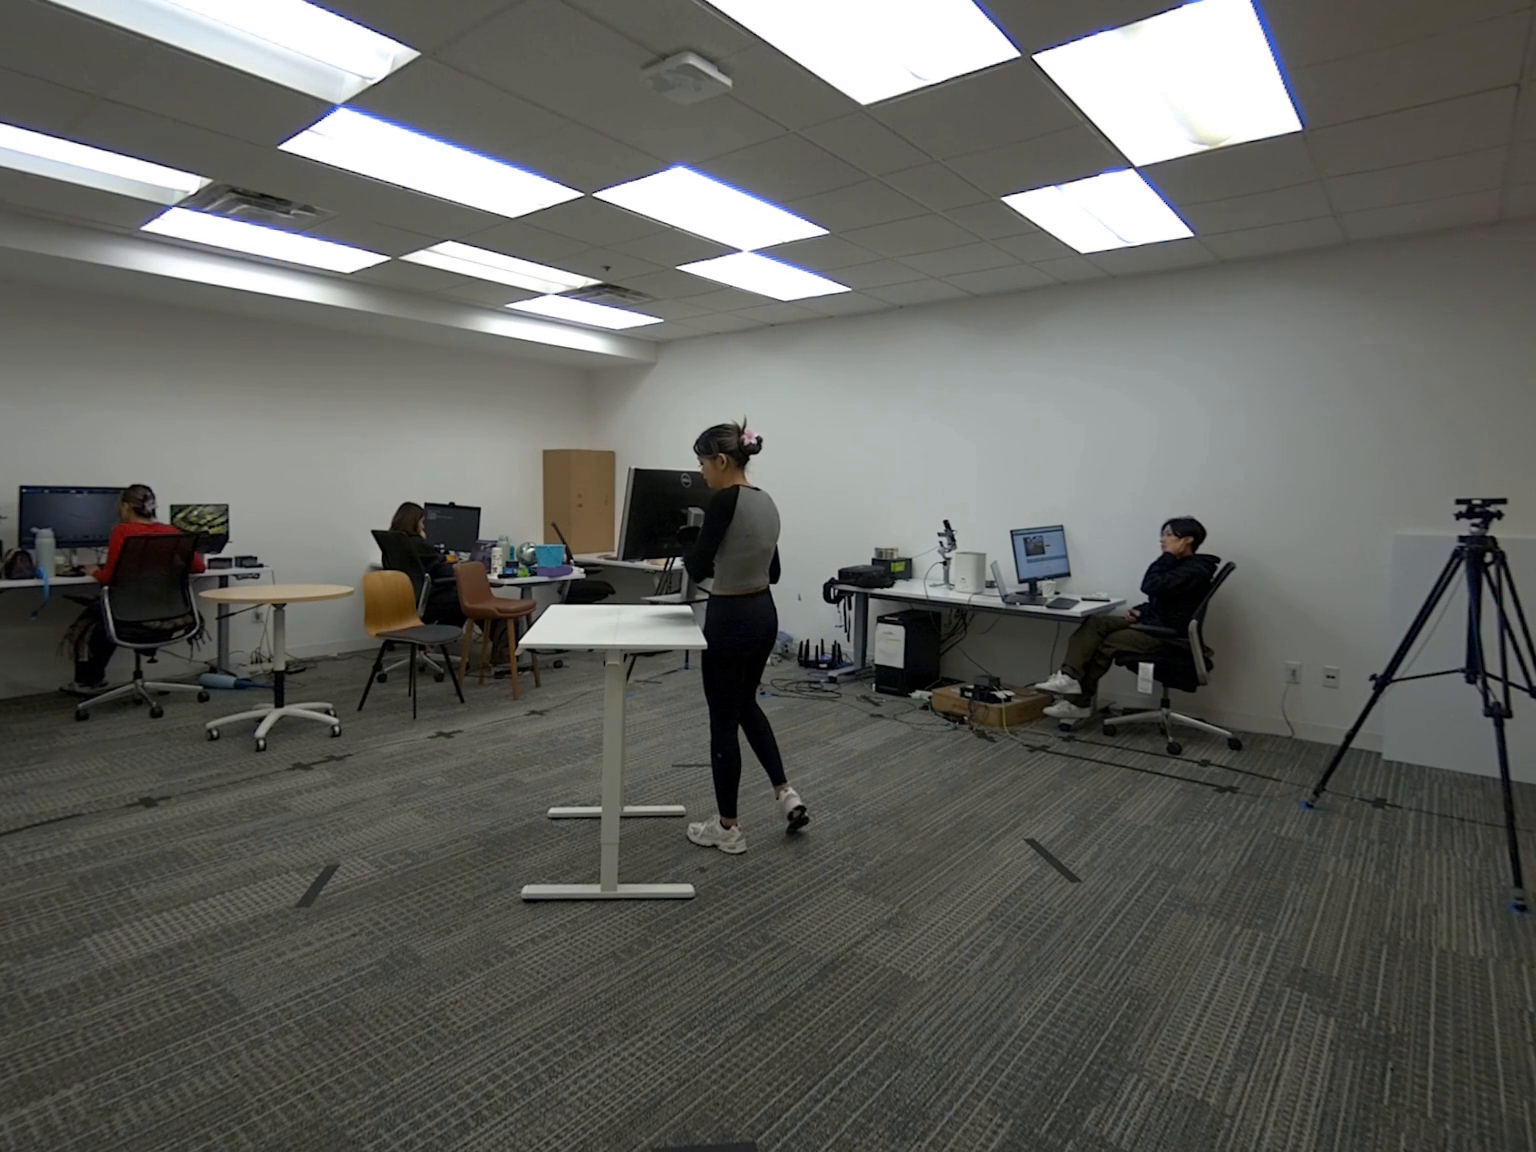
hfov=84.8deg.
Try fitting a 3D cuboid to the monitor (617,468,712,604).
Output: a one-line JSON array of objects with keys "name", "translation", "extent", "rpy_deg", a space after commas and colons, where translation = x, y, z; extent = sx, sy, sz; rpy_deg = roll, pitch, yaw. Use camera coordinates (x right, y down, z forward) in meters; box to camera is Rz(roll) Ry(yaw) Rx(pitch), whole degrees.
[{"name": "monitor", "translation": [-0.355, -0.162, 3.400], "extent": [0.193, 0.522, 0.523], "rpy_deg": [0, 3, 38]}]
